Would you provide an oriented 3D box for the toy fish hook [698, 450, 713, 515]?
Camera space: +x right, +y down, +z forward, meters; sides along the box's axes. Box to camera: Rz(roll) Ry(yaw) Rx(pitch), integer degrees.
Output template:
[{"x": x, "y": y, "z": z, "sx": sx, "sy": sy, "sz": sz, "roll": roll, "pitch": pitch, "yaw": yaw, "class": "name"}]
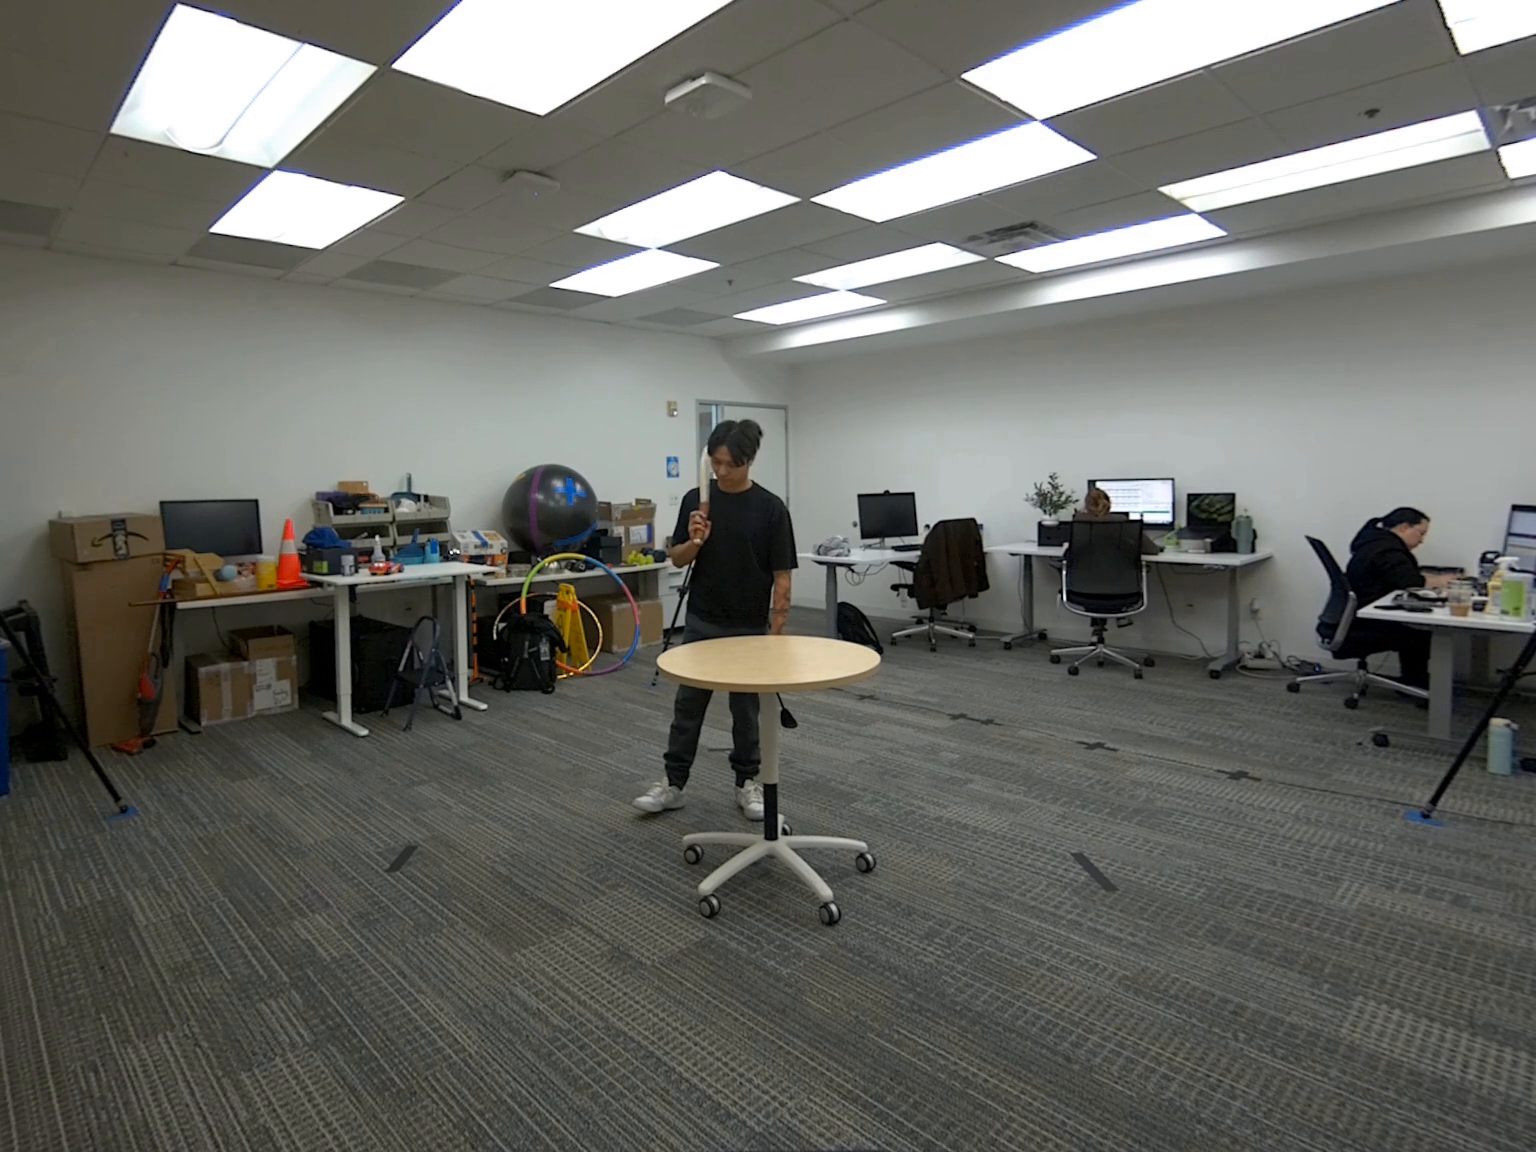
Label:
[{"x": -0.235, "y": -0.322, "z": 3.555, "sx": 0.049, "sy": 0.516, "sz": 0.216, "roll": -9, "pitch": -33, "yaw": 28, "class": "toy fish hook"}]
